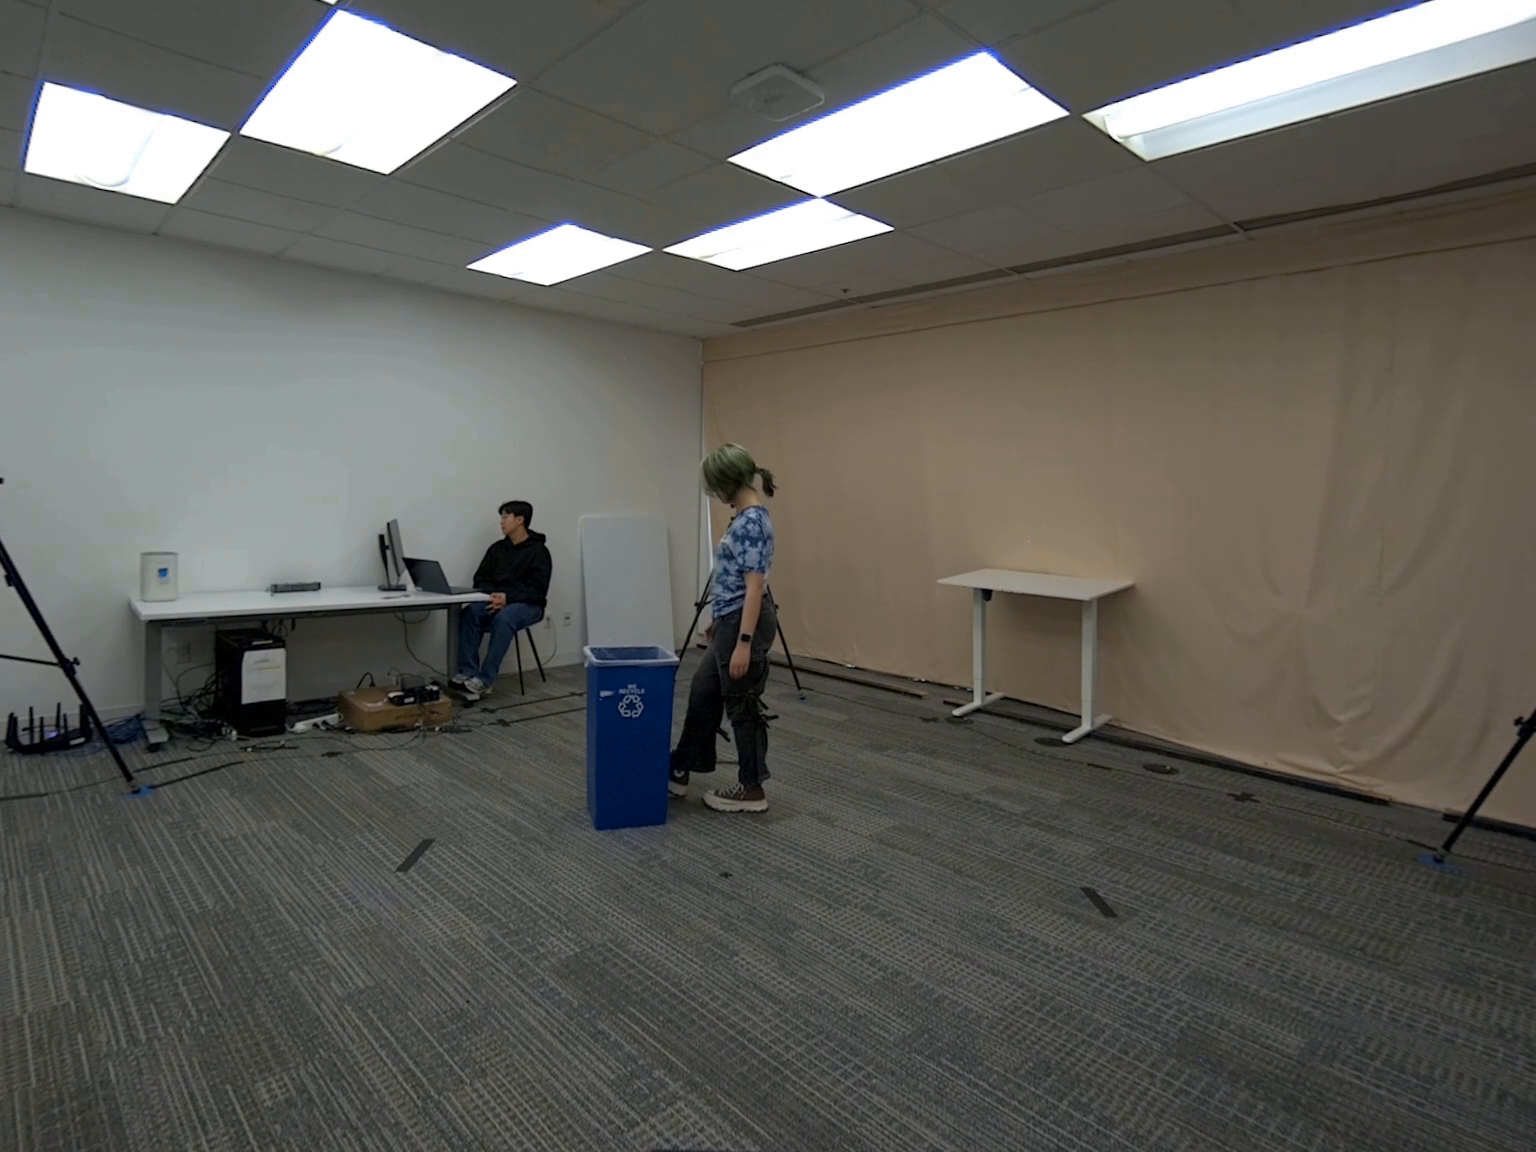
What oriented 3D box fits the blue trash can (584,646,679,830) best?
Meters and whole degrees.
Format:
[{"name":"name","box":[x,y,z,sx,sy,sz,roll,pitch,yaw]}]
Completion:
[{"name":"blue trash can","box":[-0.613,0.688,3.658,0.369,0.712,0.384,1,3,-19]}]
